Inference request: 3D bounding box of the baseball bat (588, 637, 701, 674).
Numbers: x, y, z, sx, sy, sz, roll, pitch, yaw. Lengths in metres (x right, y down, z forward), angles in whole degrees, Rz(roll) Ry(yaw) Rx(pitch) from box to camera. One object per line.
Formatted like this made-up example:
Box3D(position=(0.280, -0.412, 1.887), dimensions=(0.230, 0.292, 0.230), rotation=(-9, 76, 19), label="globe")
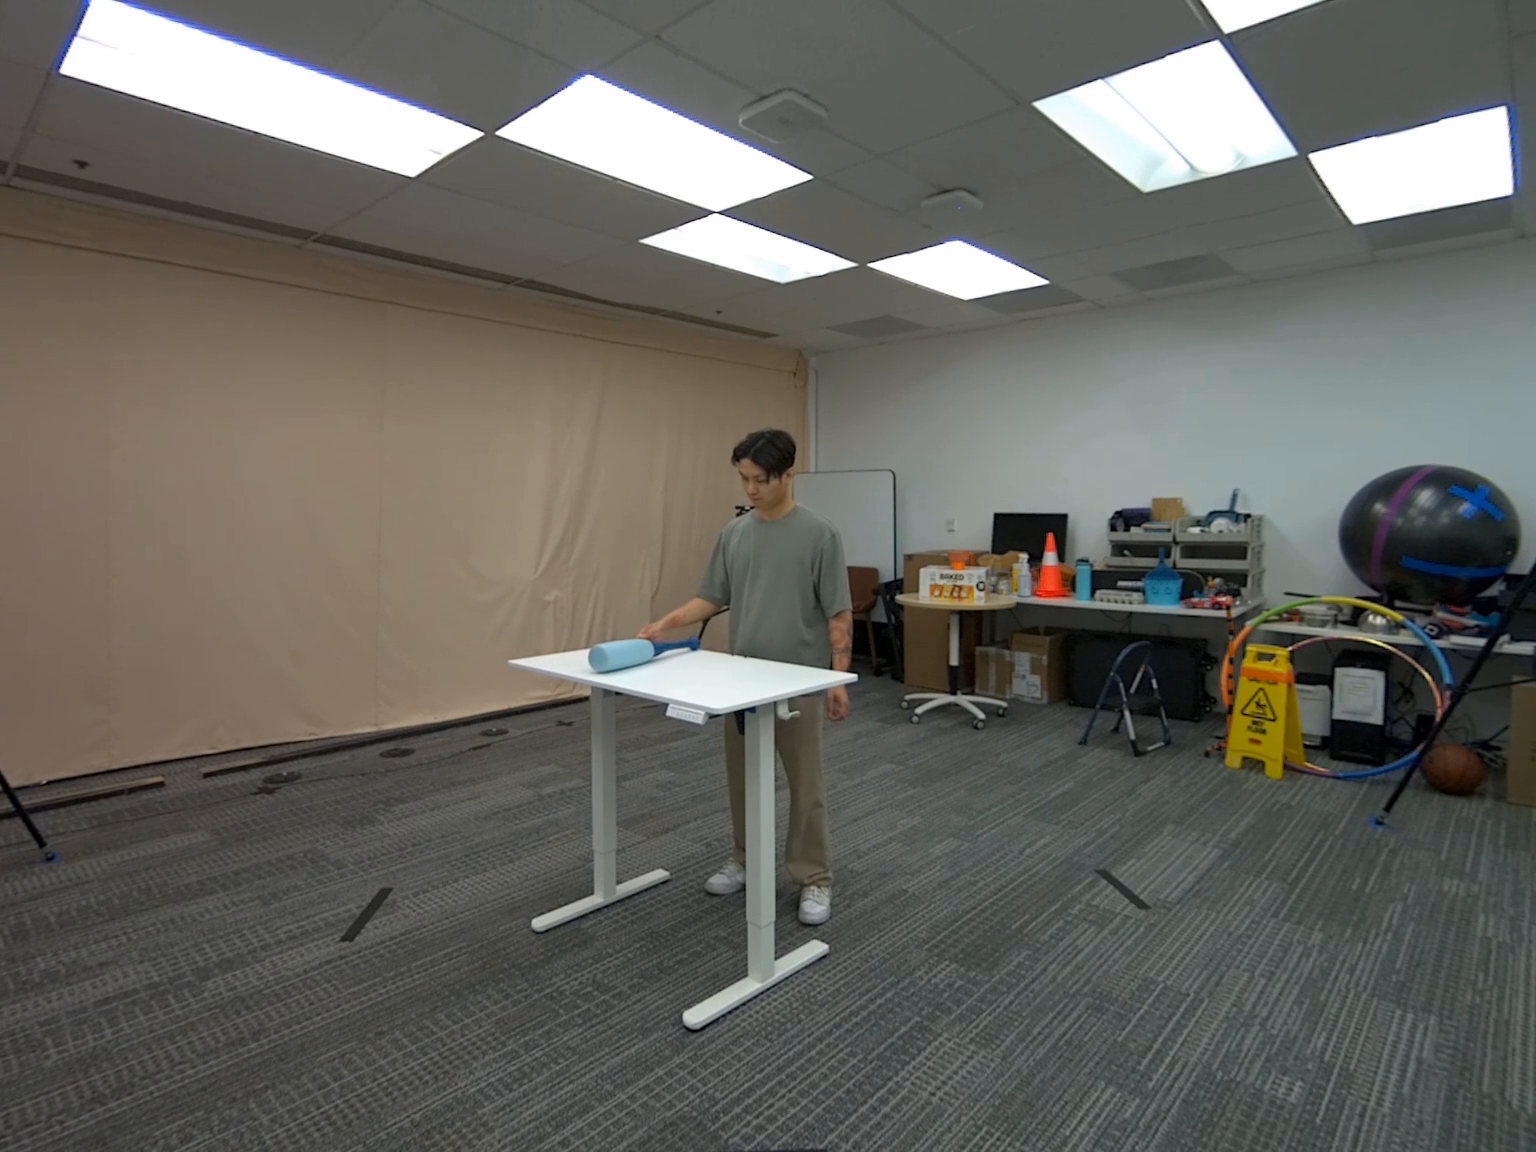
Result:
Box3D(position=(-0.399, 0.253, 2.780), dimensions=(0.091, 0.089, 0.527), rotation=(2, 0, 29), label="baseball bat")
